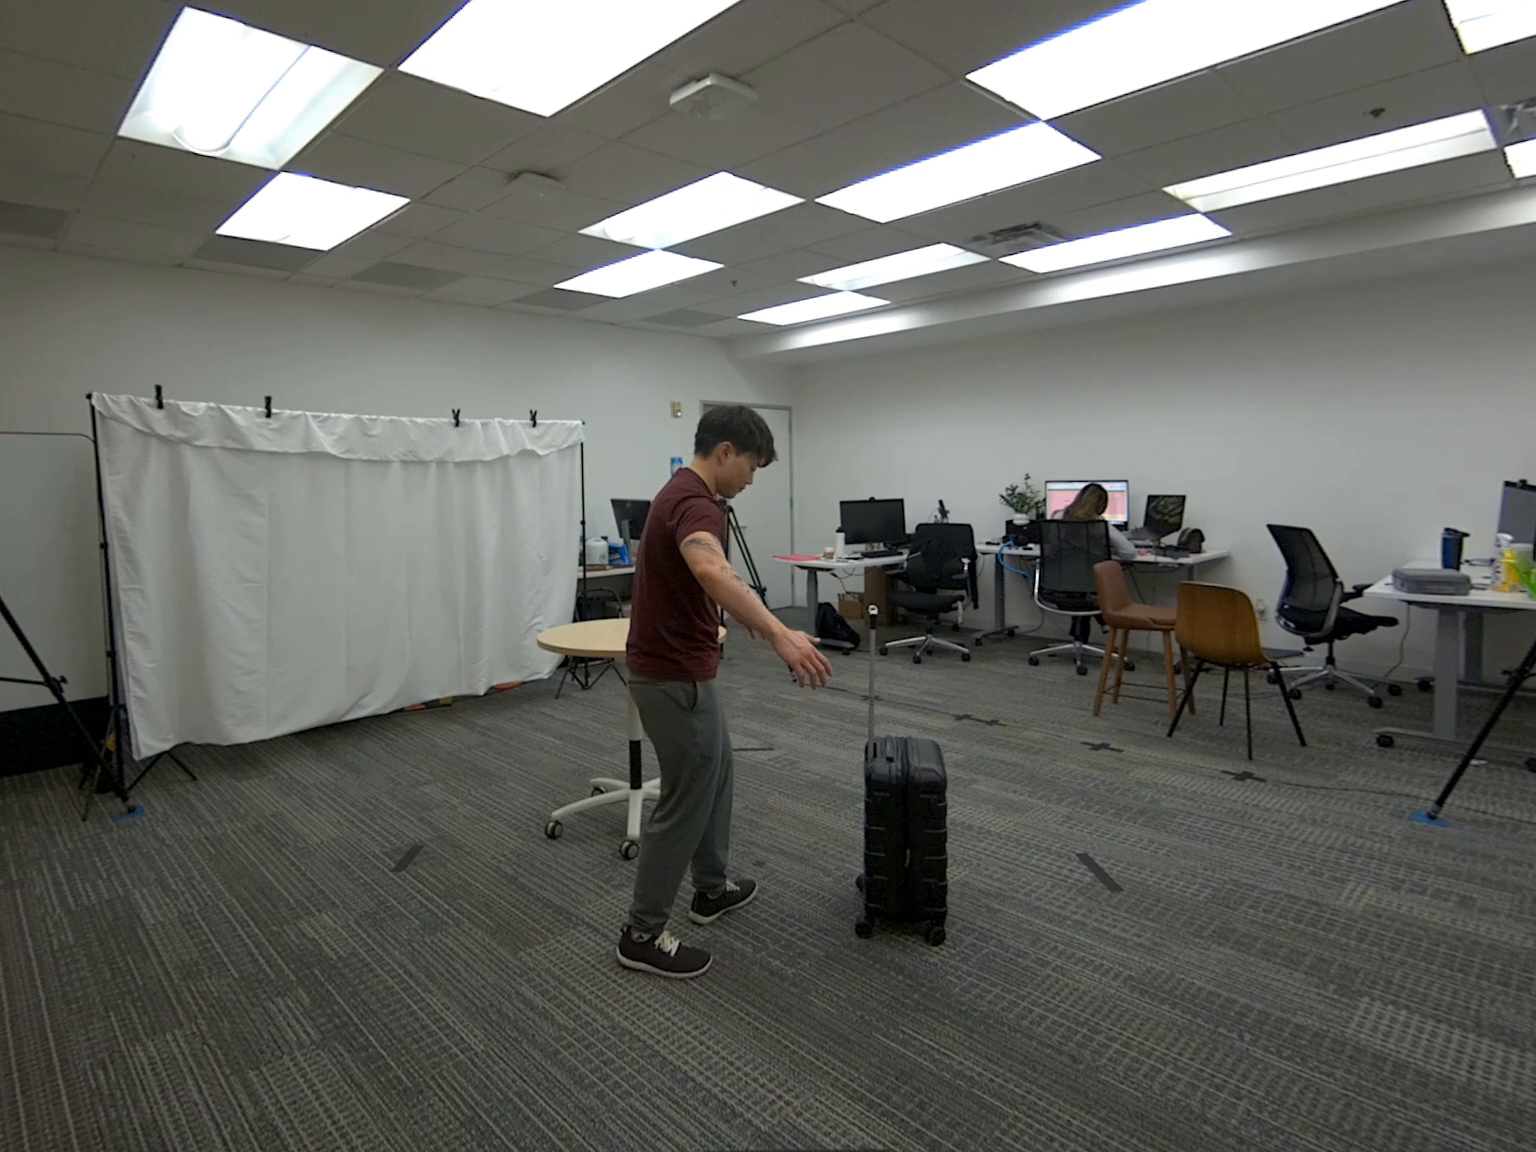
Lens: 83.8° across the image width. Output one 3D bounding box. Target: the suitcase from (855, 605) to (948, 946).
[{"bbox_3d":[0.438,0.603,2.699,0.260,0.975,0.381,2,4,10],"label":"suitcase"}]
